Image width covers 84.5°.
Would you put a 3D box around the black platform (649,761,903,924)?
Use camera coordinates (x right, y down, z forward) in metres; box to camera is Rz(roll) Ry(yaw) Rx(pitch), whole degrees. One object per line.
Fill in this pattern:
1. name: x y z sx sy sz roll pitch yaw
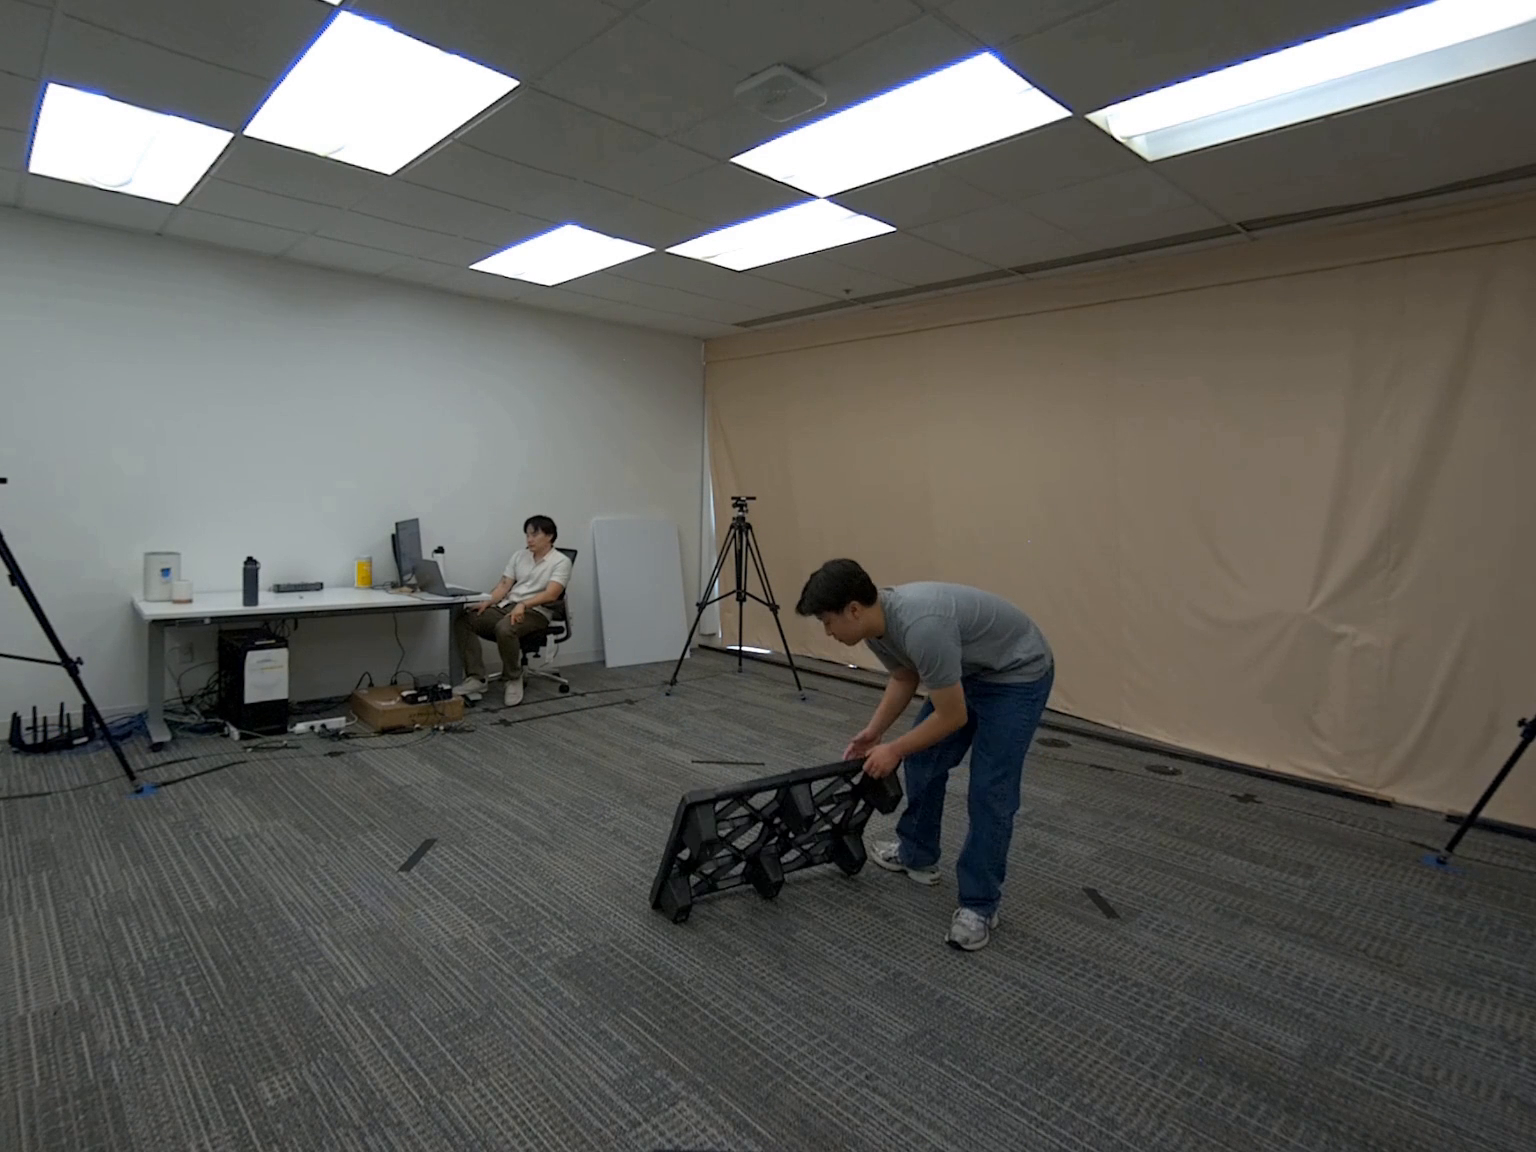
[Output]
1. black platform: 0.040 0.896 2.799 0.792 0.597 0.148 -4 41 -26
